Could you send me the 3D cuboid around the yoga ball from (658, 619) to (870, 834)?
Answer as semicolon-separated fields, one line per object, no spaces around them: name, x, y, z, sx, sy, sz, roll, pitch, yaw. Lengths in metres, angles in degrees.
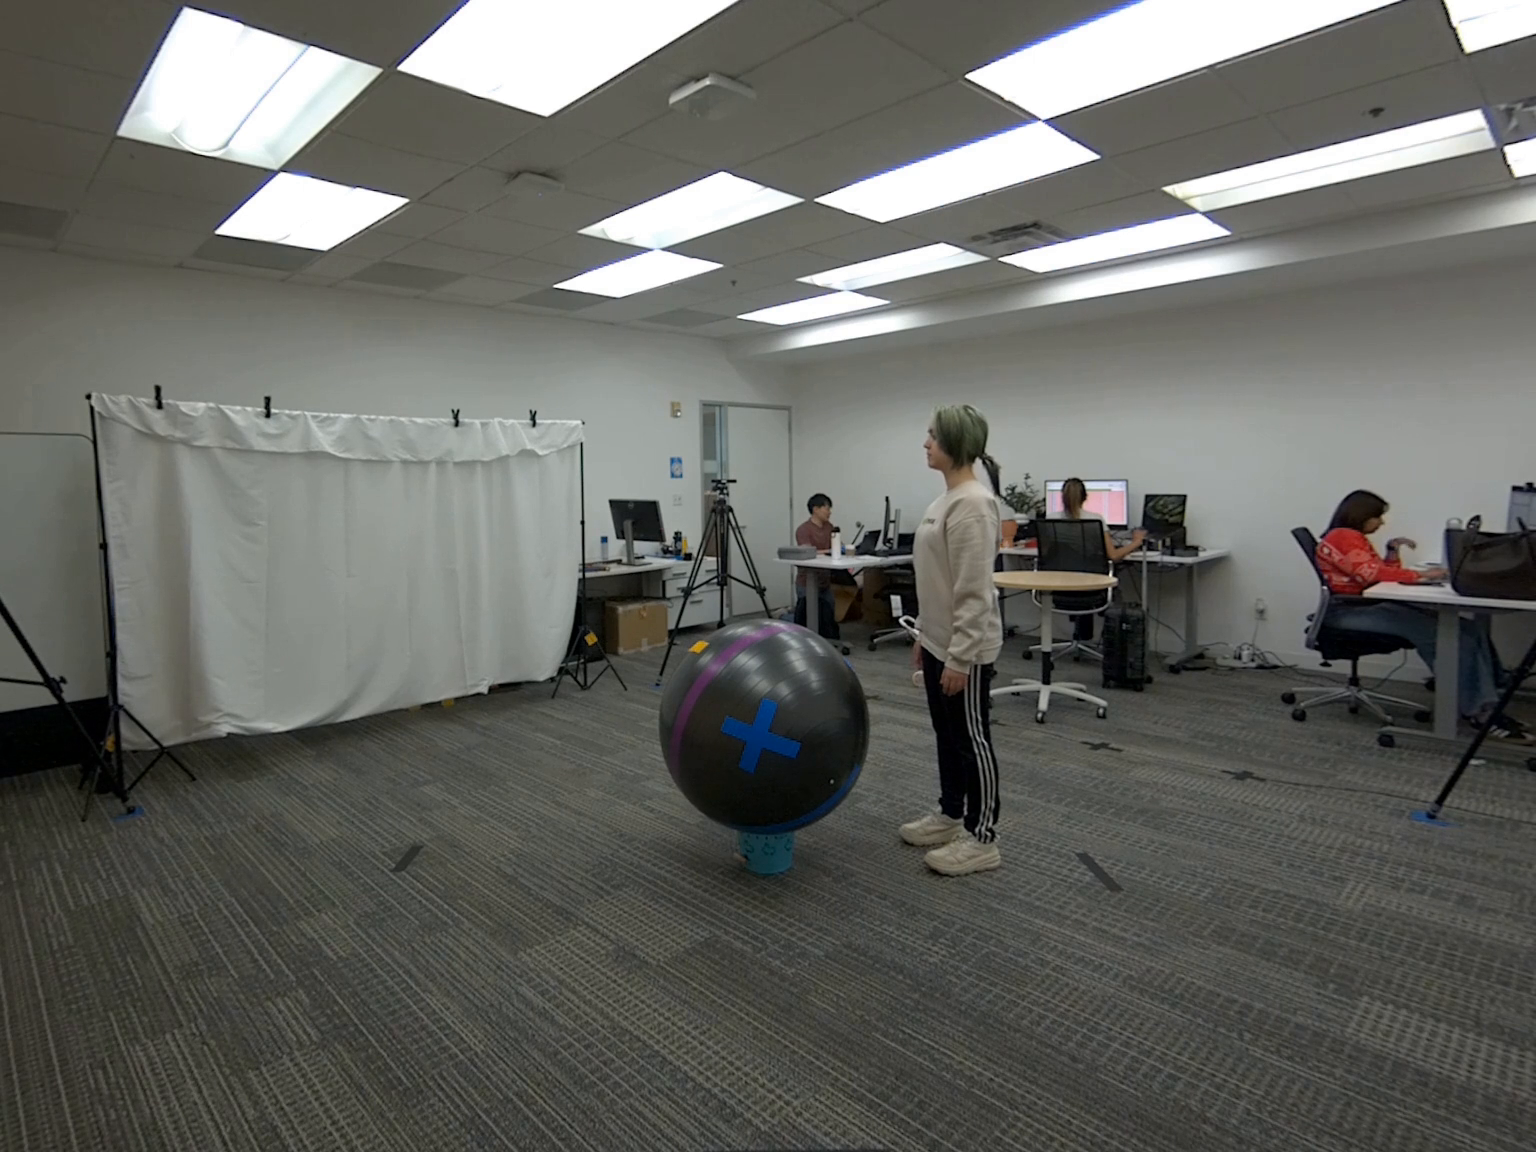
yoga ball;-0.016;0.534;3.087;0.757;0.755;0.762;-1;5;-2
